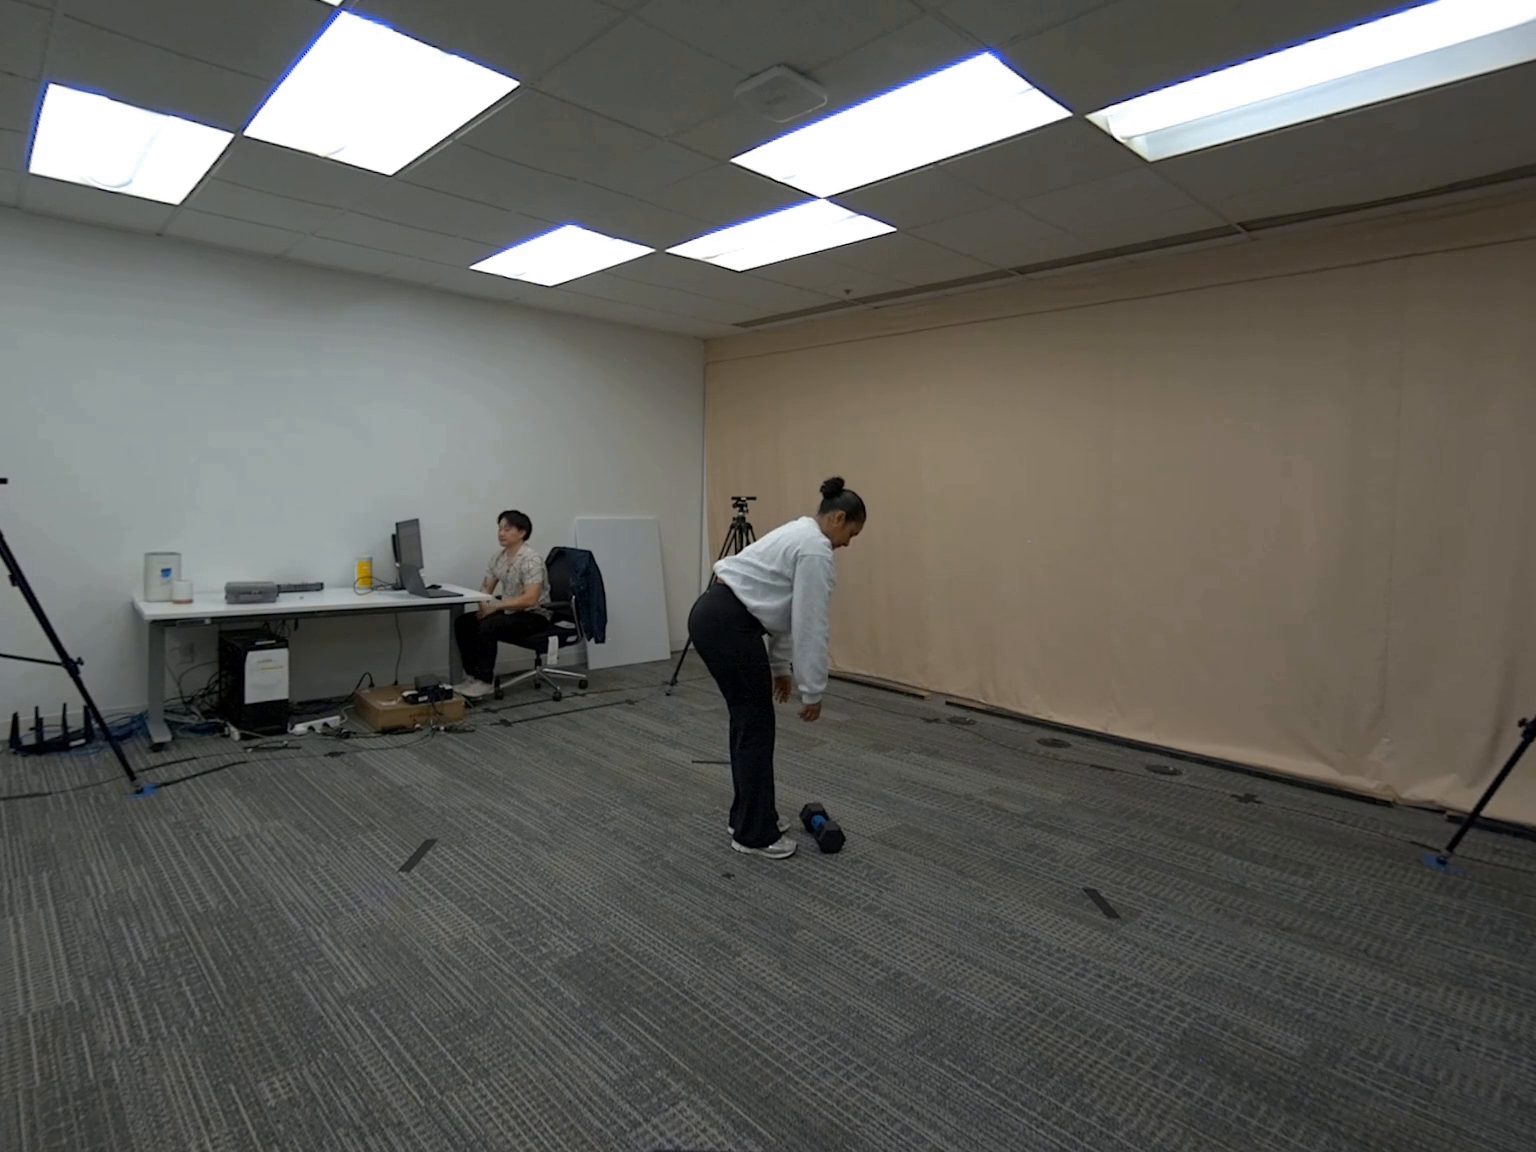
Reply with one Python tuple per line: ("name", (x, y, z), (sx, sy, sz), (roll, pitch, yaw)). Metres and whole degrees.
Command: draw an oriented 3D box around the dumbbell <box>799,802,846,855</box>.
("dumbbell", (0.208, 1.029, 3.455), (0.108, 0.122, 0.297), (-29, 10, -8))
